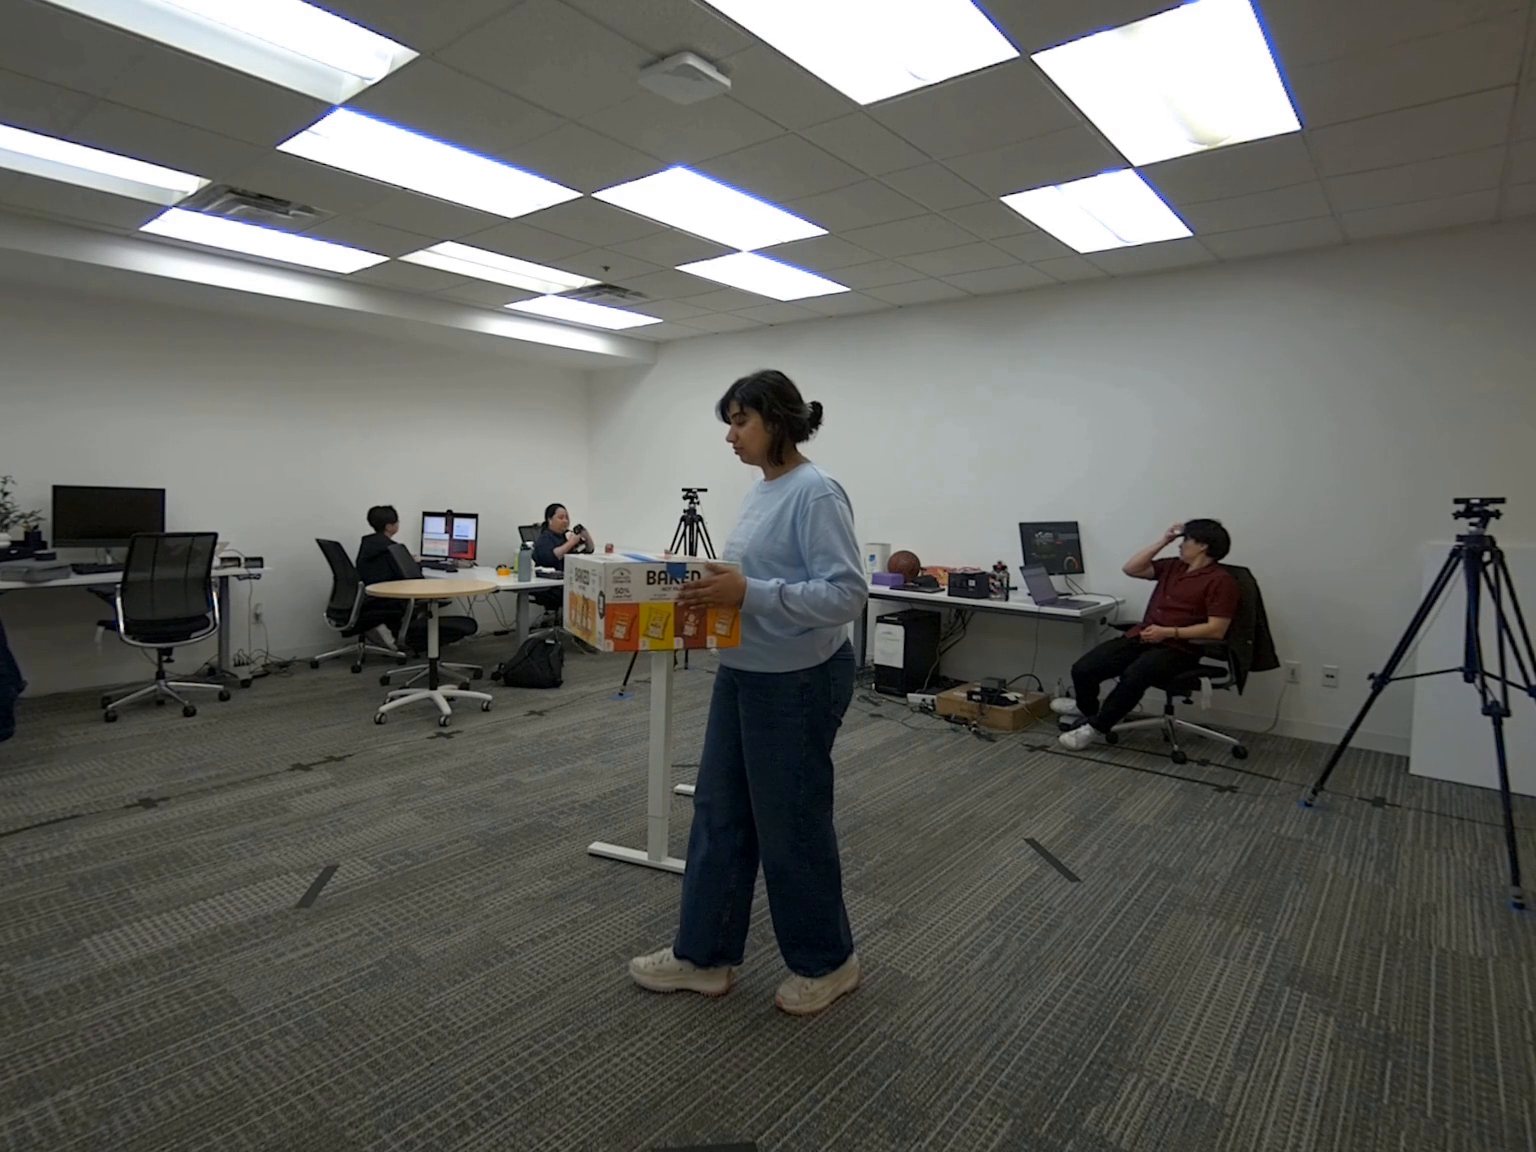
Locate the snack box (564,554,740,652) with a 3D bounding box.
[{"bbox_3d":[-0.316,0.054,2.150,0.332,0.205,0.415,1,3,-25],"label":"snack box"}]
